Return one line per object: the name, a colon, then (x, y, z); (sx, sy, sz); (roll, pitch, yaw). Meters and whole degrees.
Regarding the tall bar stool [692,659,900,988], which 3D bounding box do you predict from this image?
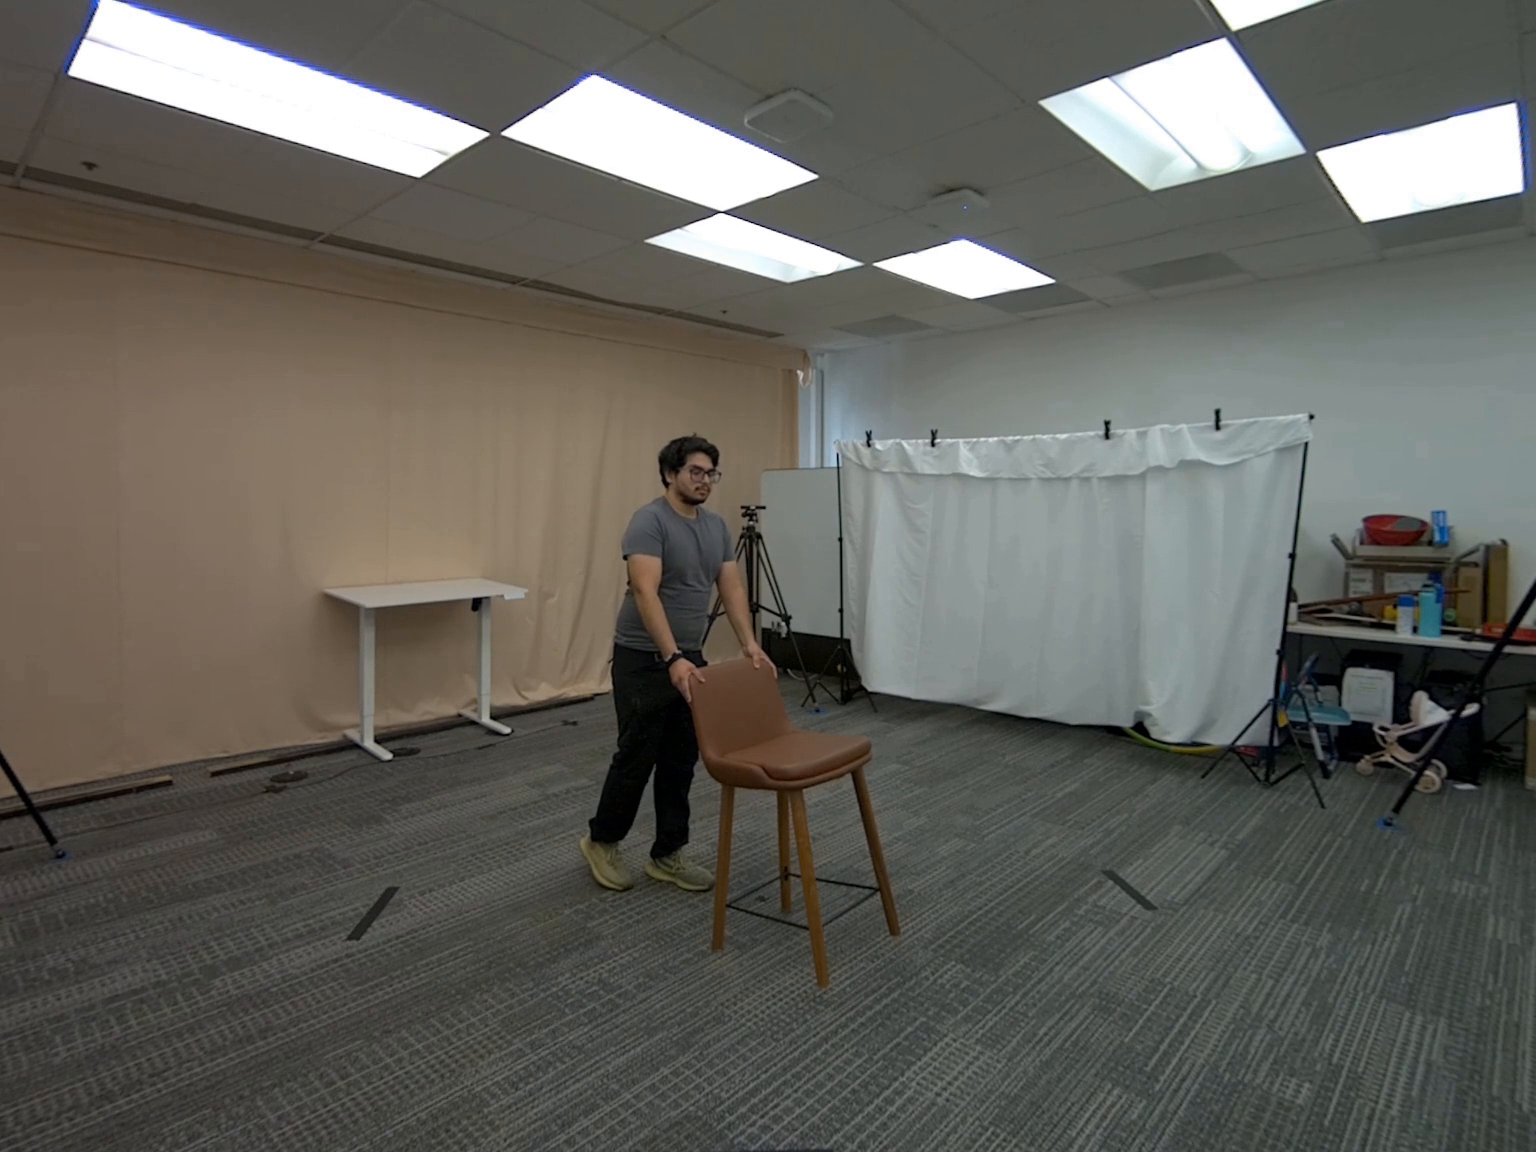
tall bar stool: (0.068, 0.713, 2.647); (0.481, 0.892, 0.442); (-10, -4, 42)
